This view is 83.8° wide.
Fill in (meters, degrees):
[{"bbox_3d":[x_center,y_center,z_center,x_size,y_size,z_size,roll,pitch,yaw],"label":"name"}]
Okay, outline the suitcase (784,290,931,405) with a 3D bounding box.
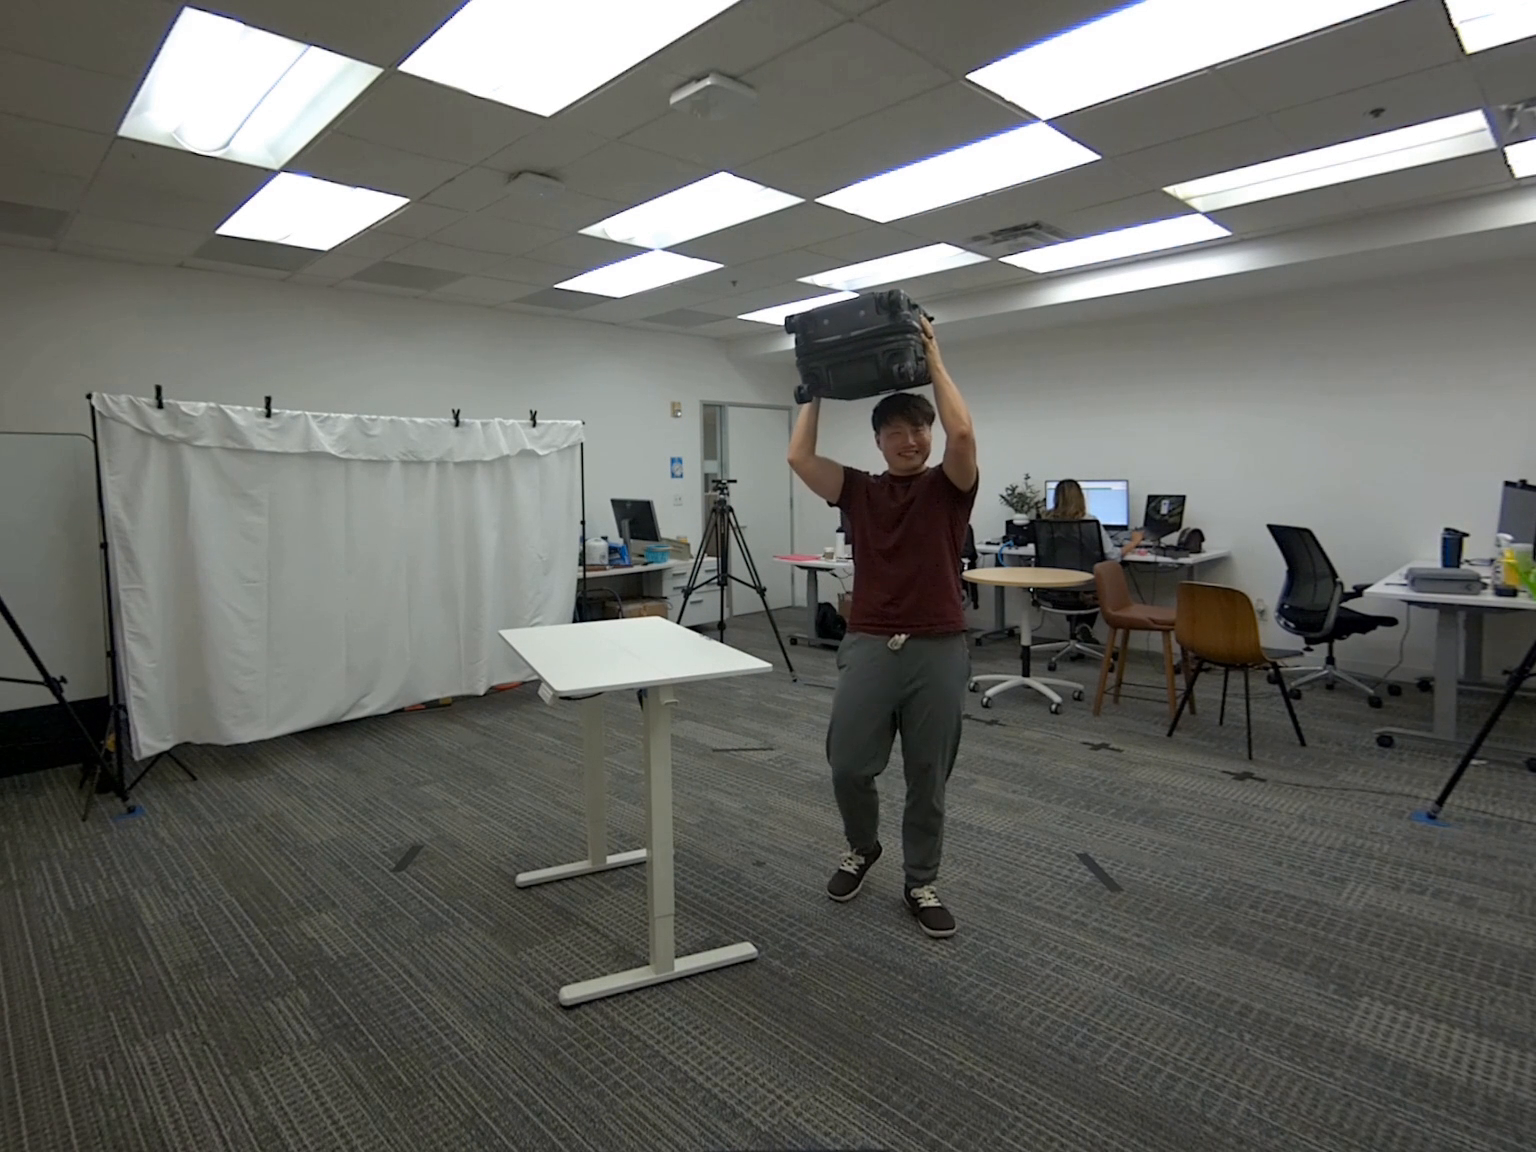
[{"bbox_3d":[0.384,-0.719,2.820,0.391,0.256,0.964,-5,6,22],"label":"suitcase"}]
